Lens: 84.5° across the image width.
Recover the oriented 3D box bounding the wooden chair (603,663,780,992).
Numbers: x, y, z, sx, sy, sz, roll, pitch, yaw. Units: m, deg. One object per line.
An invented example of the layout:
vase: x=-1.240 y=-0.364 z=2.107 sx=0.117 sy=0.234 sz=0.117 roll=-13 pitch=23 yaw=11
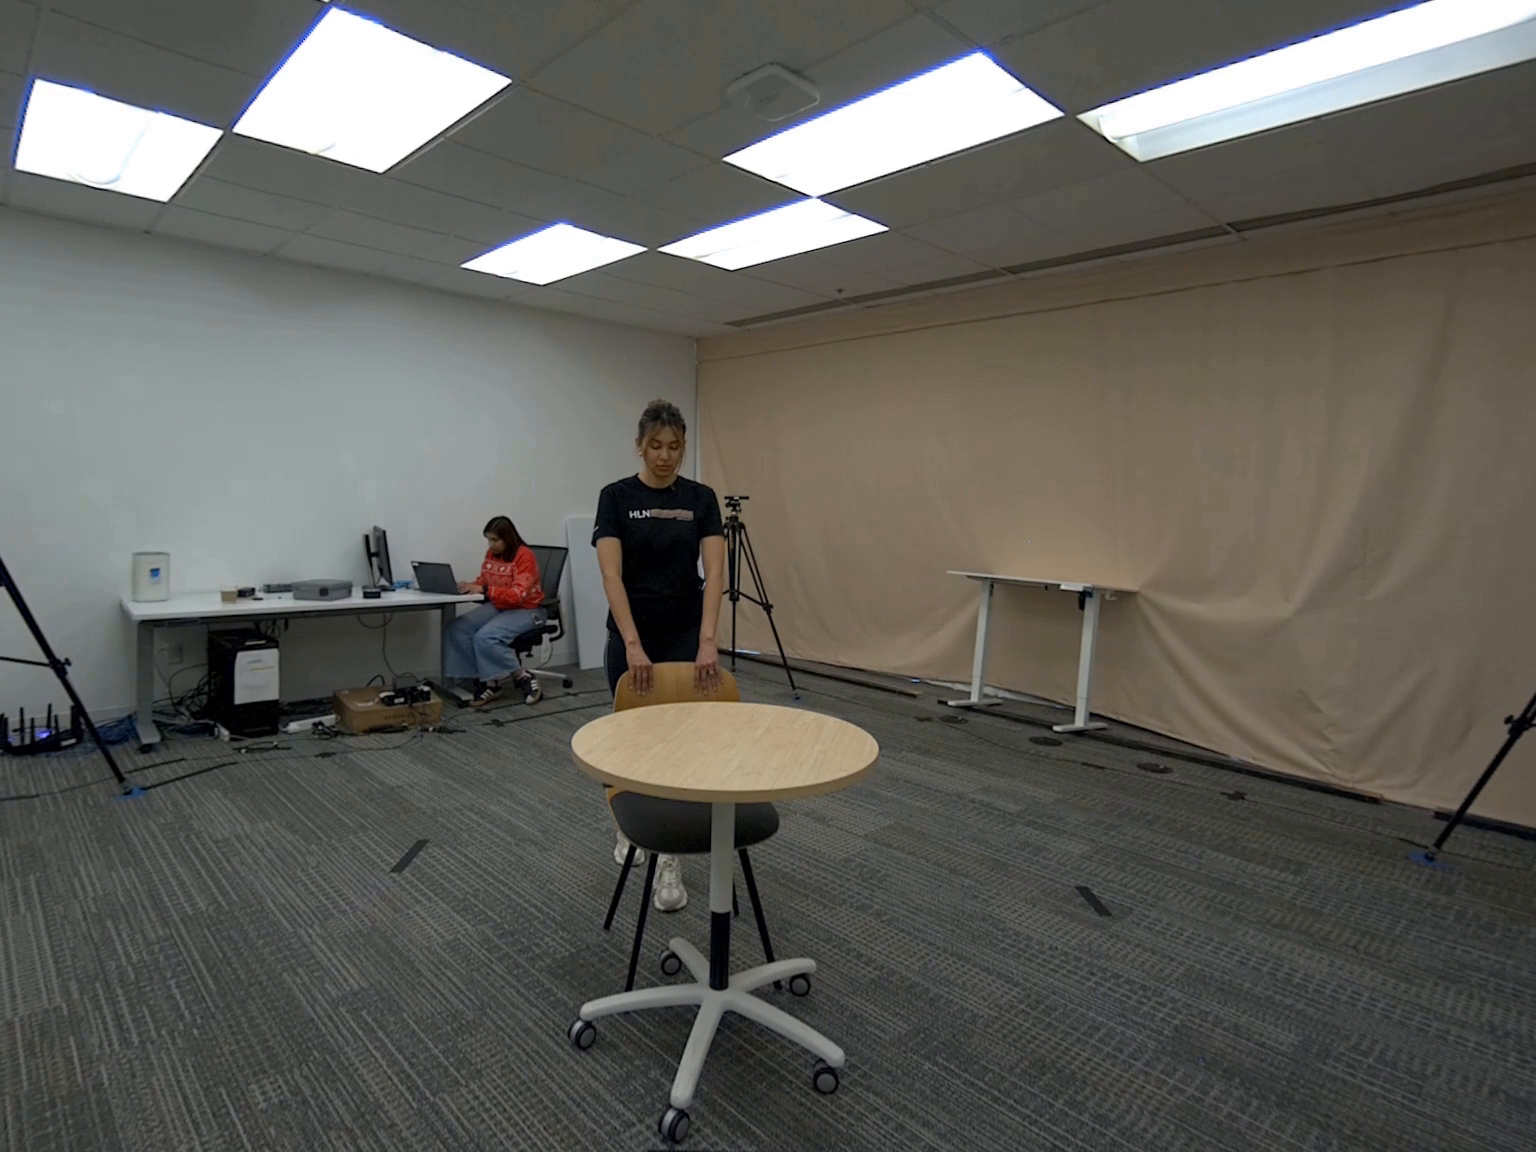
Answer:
wooden chair: x=-0.238 y=0.729 z=2.505 sx=0.472 sy=0.878 sz=0.529 roll=1 pitch=-1 yaw=-17
